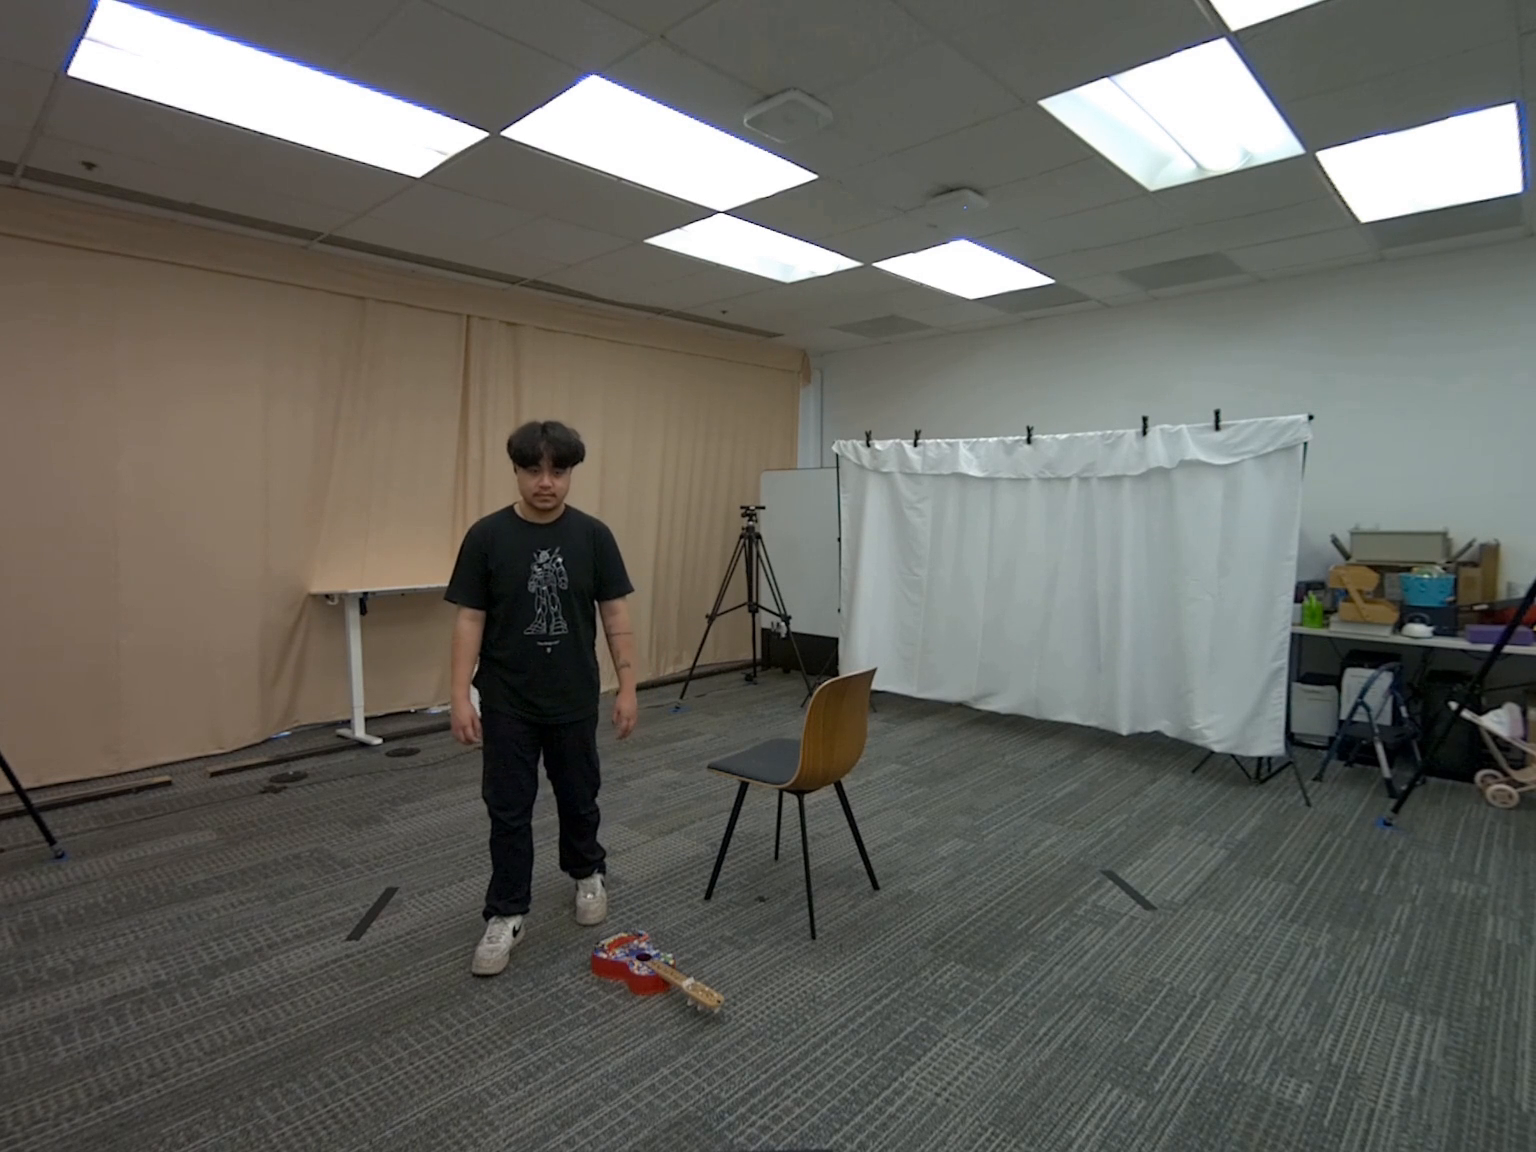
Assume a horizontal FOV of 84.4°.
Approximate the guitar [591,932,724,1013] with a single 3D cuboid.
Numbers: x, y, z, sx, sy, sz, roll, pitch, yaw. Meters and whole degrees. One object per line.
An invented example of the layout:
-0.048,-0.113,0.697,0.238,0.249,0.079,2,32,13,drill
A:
-0.334,1.162,2.415,0.187,0.070,0.514,-3,5,-36,guitar
